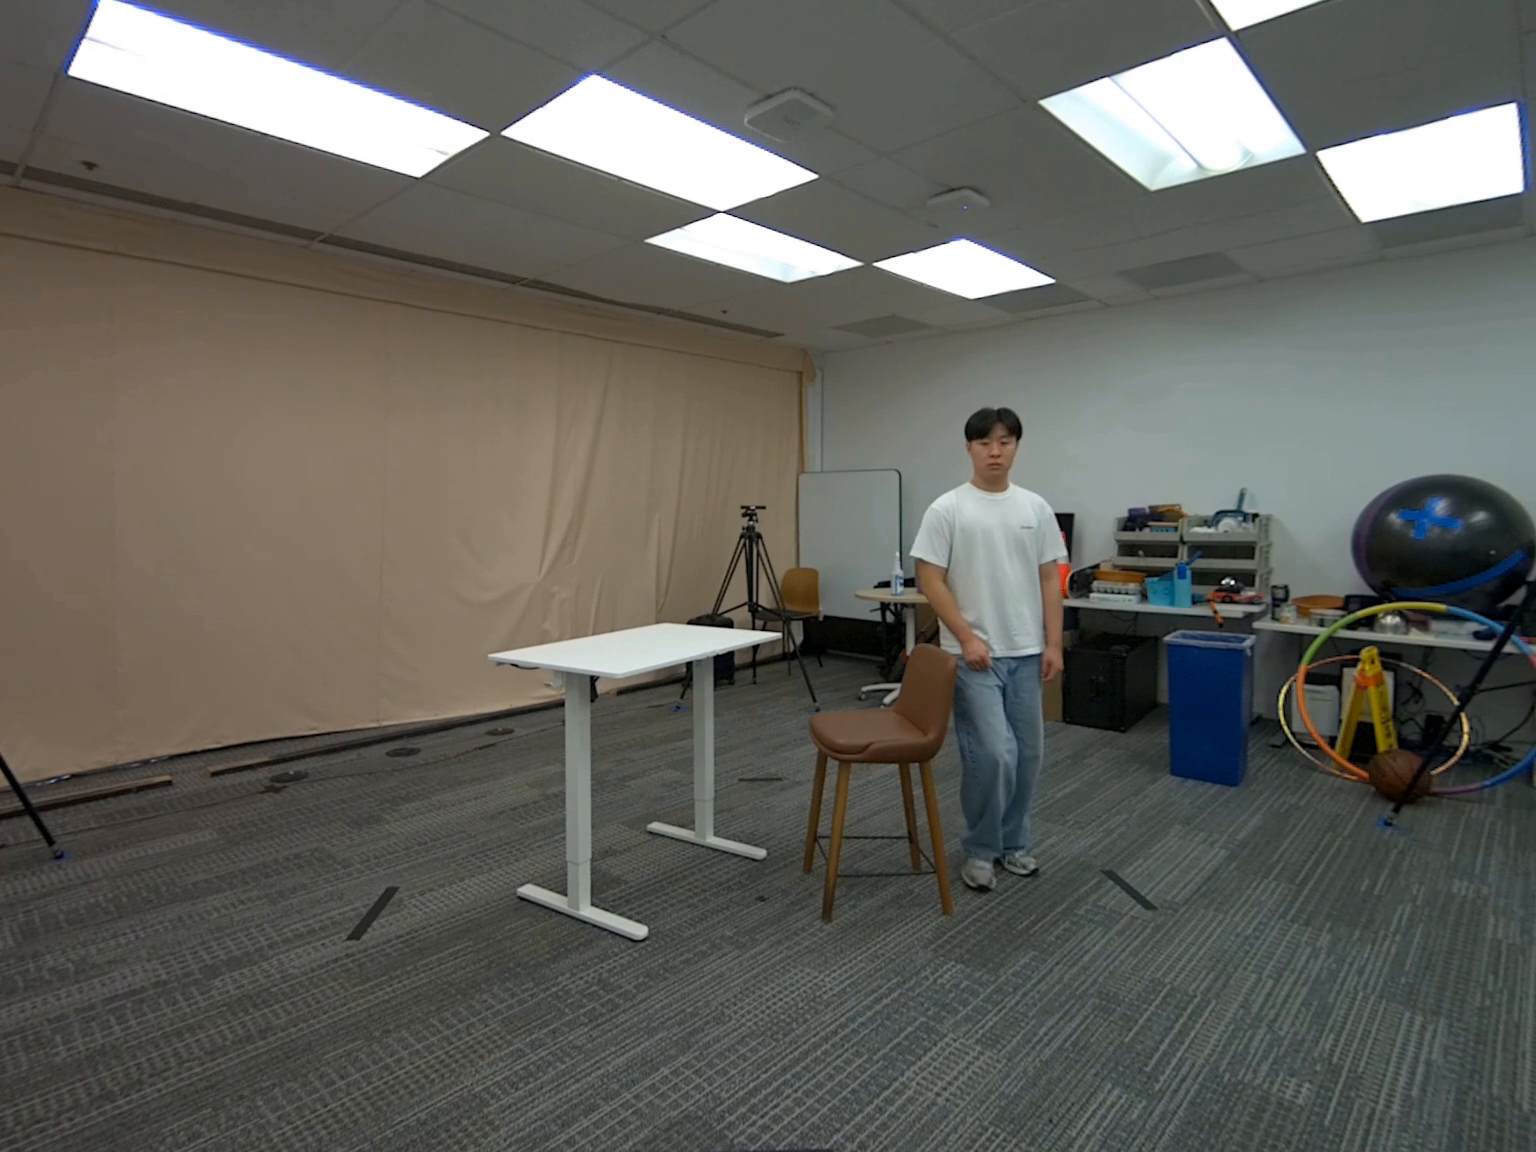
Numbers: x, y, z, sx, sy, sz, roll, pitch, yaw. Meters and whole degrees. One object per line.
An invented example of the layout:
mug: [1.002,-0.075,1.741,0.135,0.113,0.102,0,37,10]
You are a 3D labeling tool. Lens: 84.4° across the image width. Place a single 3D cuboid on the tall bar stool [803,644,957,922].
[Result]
tall bar stool: [0.400,0.703,2.996,0.465,0.888,0.460,3,3,-6]
